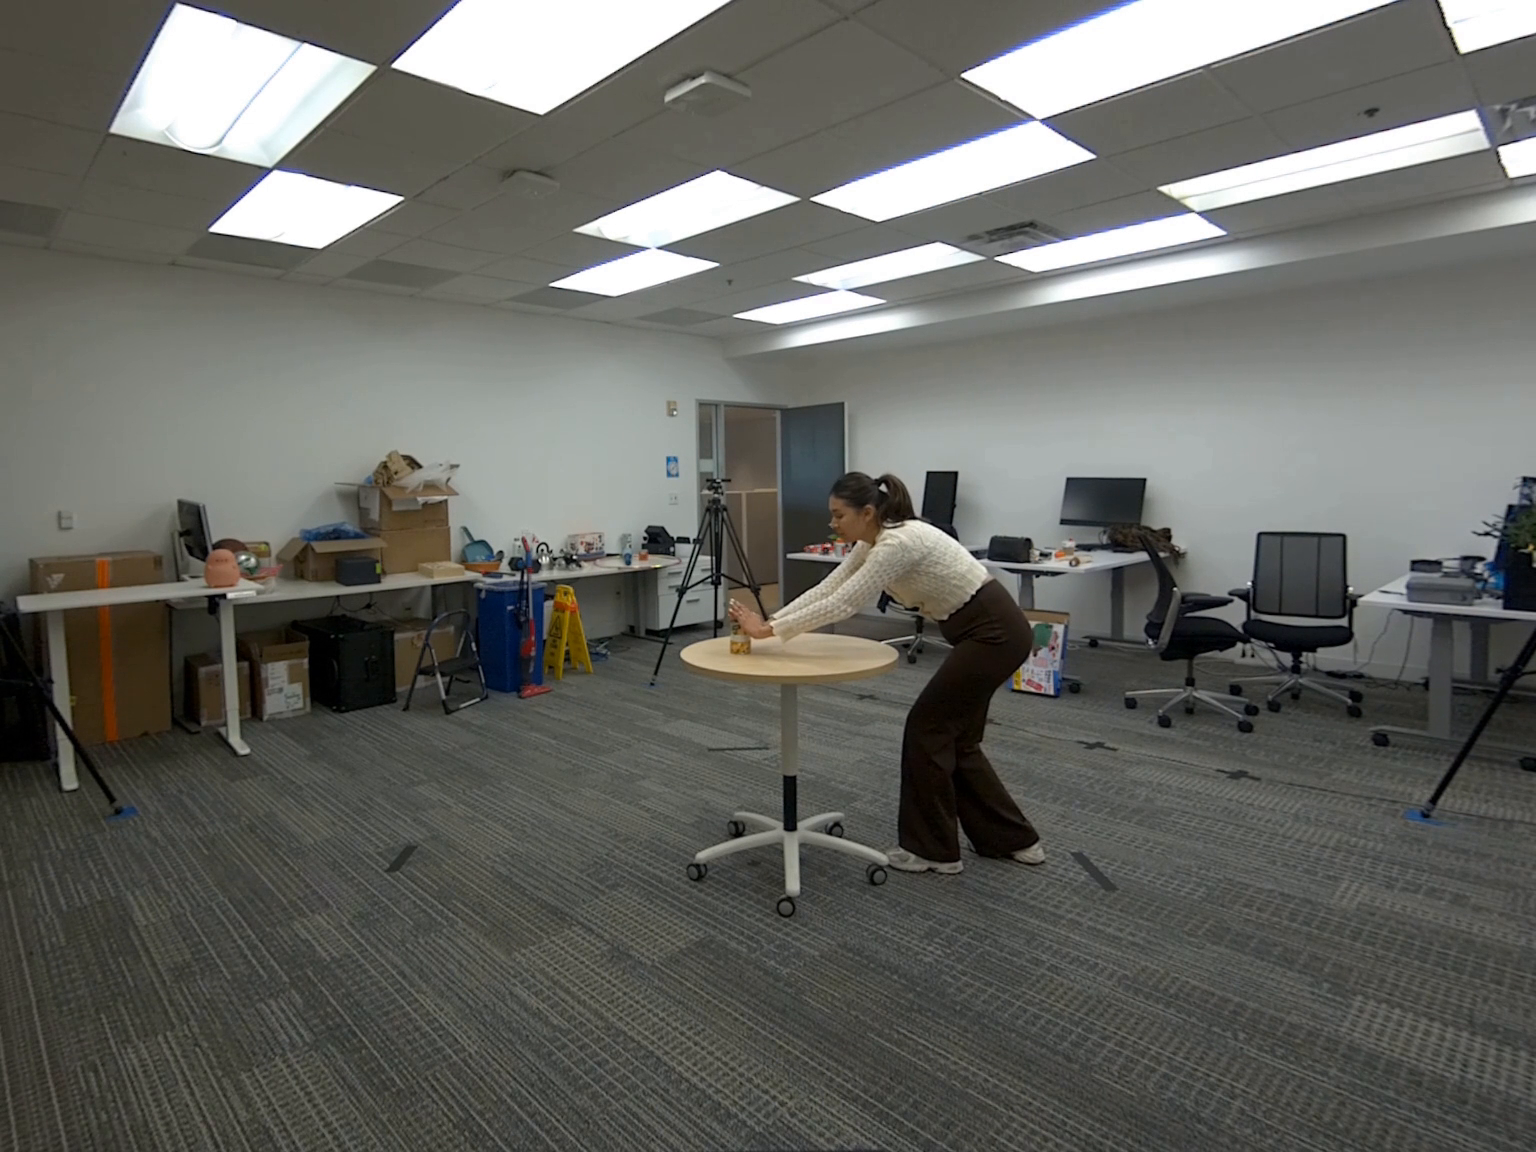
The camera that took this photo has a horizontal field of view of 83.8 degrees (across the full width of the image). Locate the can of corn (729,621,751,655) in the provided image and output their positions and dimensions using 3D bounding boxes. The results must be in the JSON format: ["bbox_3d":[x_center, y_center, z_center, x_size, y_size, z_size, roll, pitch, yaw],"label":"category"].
[{"bbox_3d":[-0.095,0.214,3.016,0.074,0.111,0.074,1,3,-2],"label":"can of corn"}]
